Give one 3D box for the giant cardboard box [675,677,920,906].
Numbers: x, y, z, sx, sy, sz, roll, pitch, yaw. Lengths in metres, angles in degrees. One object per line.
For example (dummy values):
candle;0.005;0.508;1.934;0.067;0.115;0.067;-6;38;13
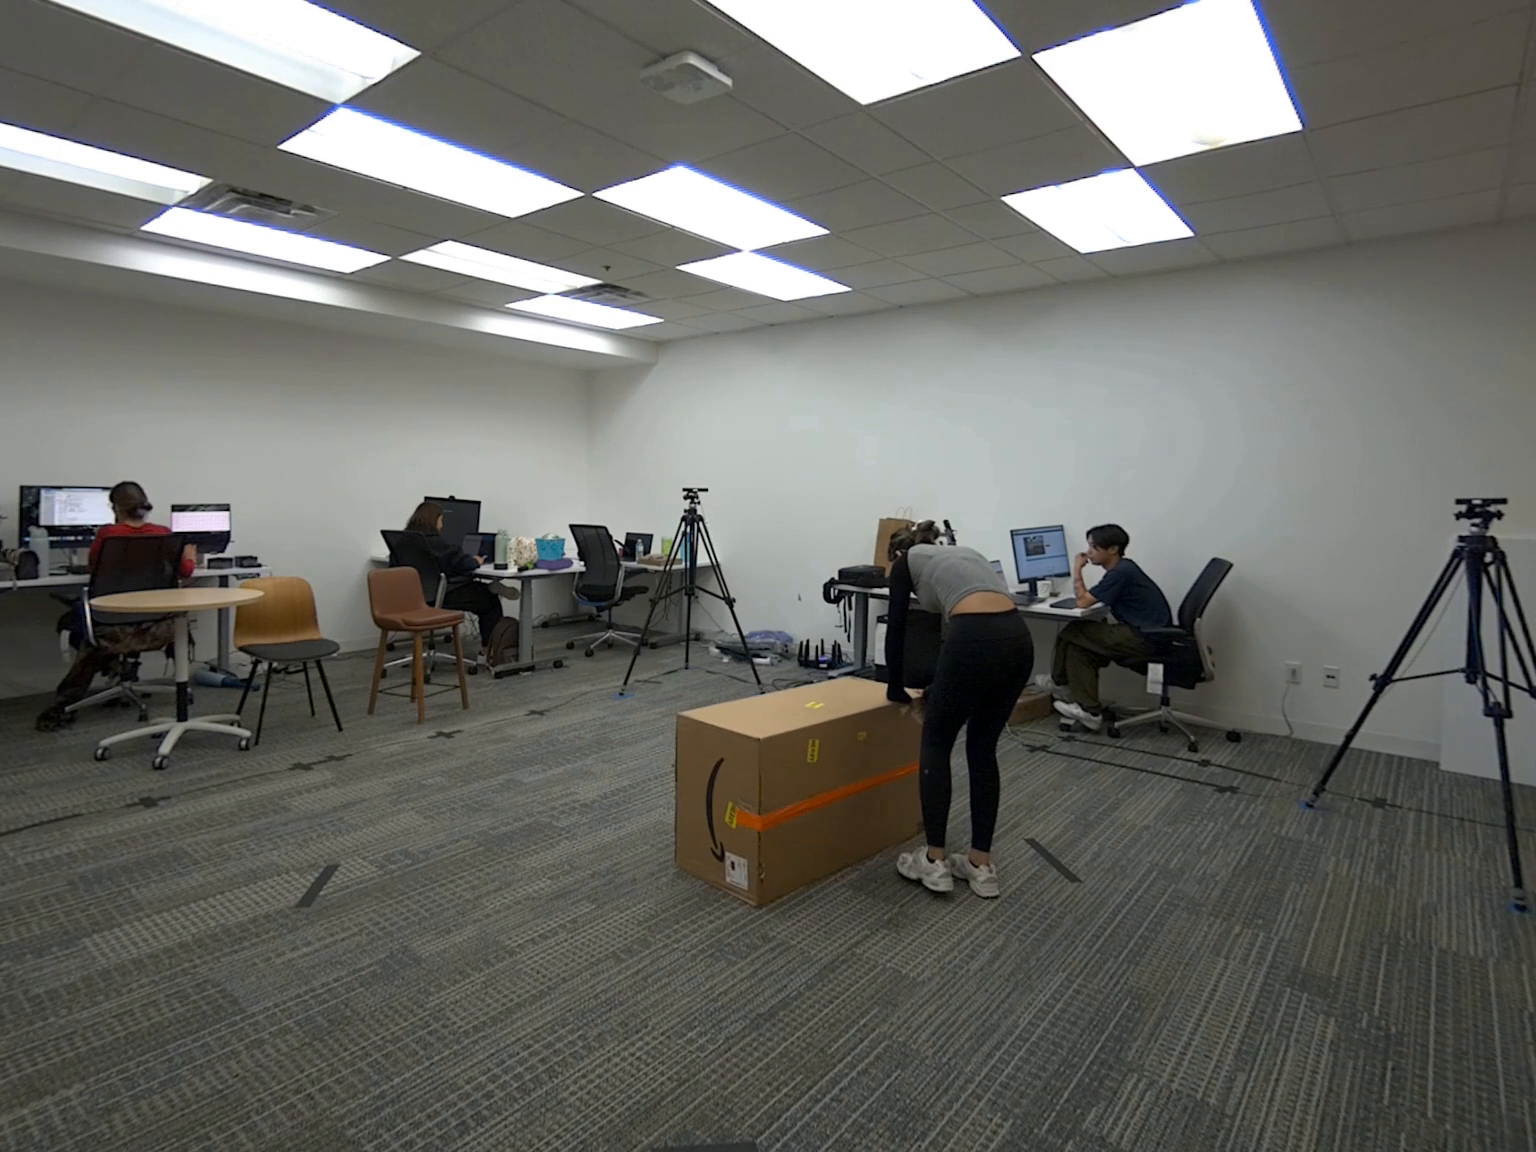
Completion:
giant cardboard box;0.152;0.773;3.306;0.462;0.582;0.996;6;7;44
